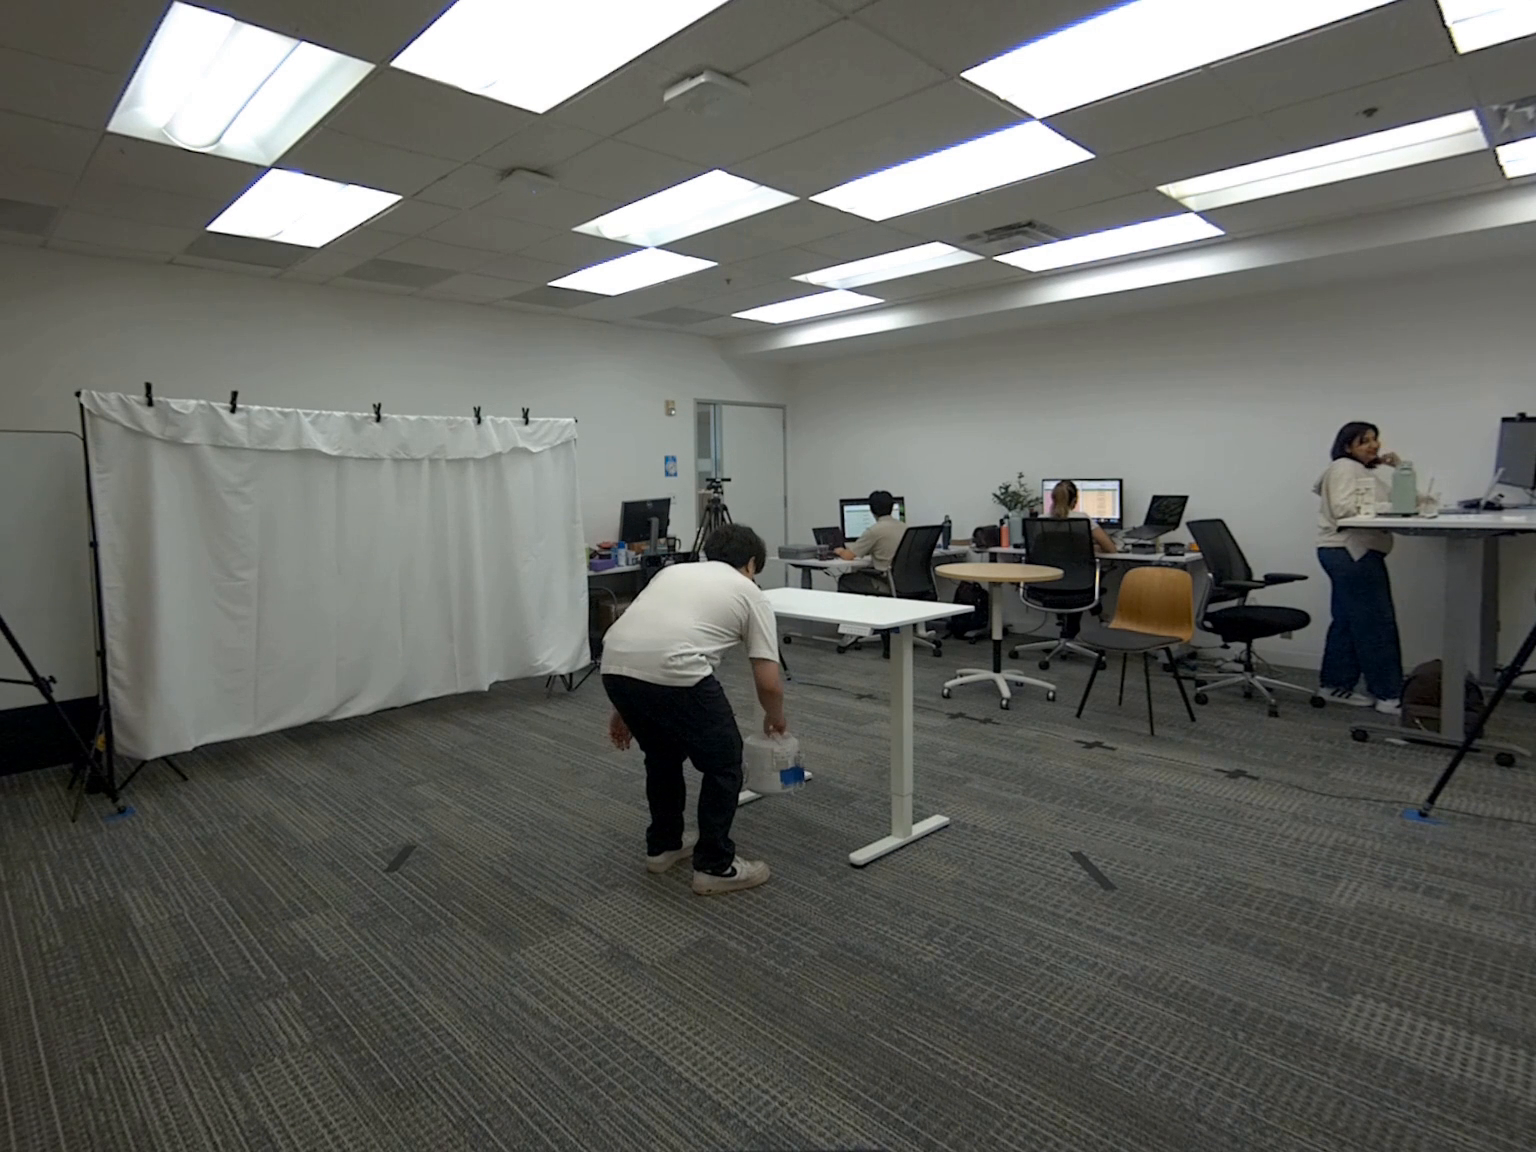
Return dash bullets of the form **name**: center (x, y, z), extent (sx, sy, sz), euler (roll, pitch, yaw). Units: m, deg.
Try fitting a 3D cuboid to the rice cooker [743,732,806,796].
- **rice cooker**: center (0.018, 0.695, 3.235), extent (0.214, 0.232, 0.225), euler (0, 3, -18)
